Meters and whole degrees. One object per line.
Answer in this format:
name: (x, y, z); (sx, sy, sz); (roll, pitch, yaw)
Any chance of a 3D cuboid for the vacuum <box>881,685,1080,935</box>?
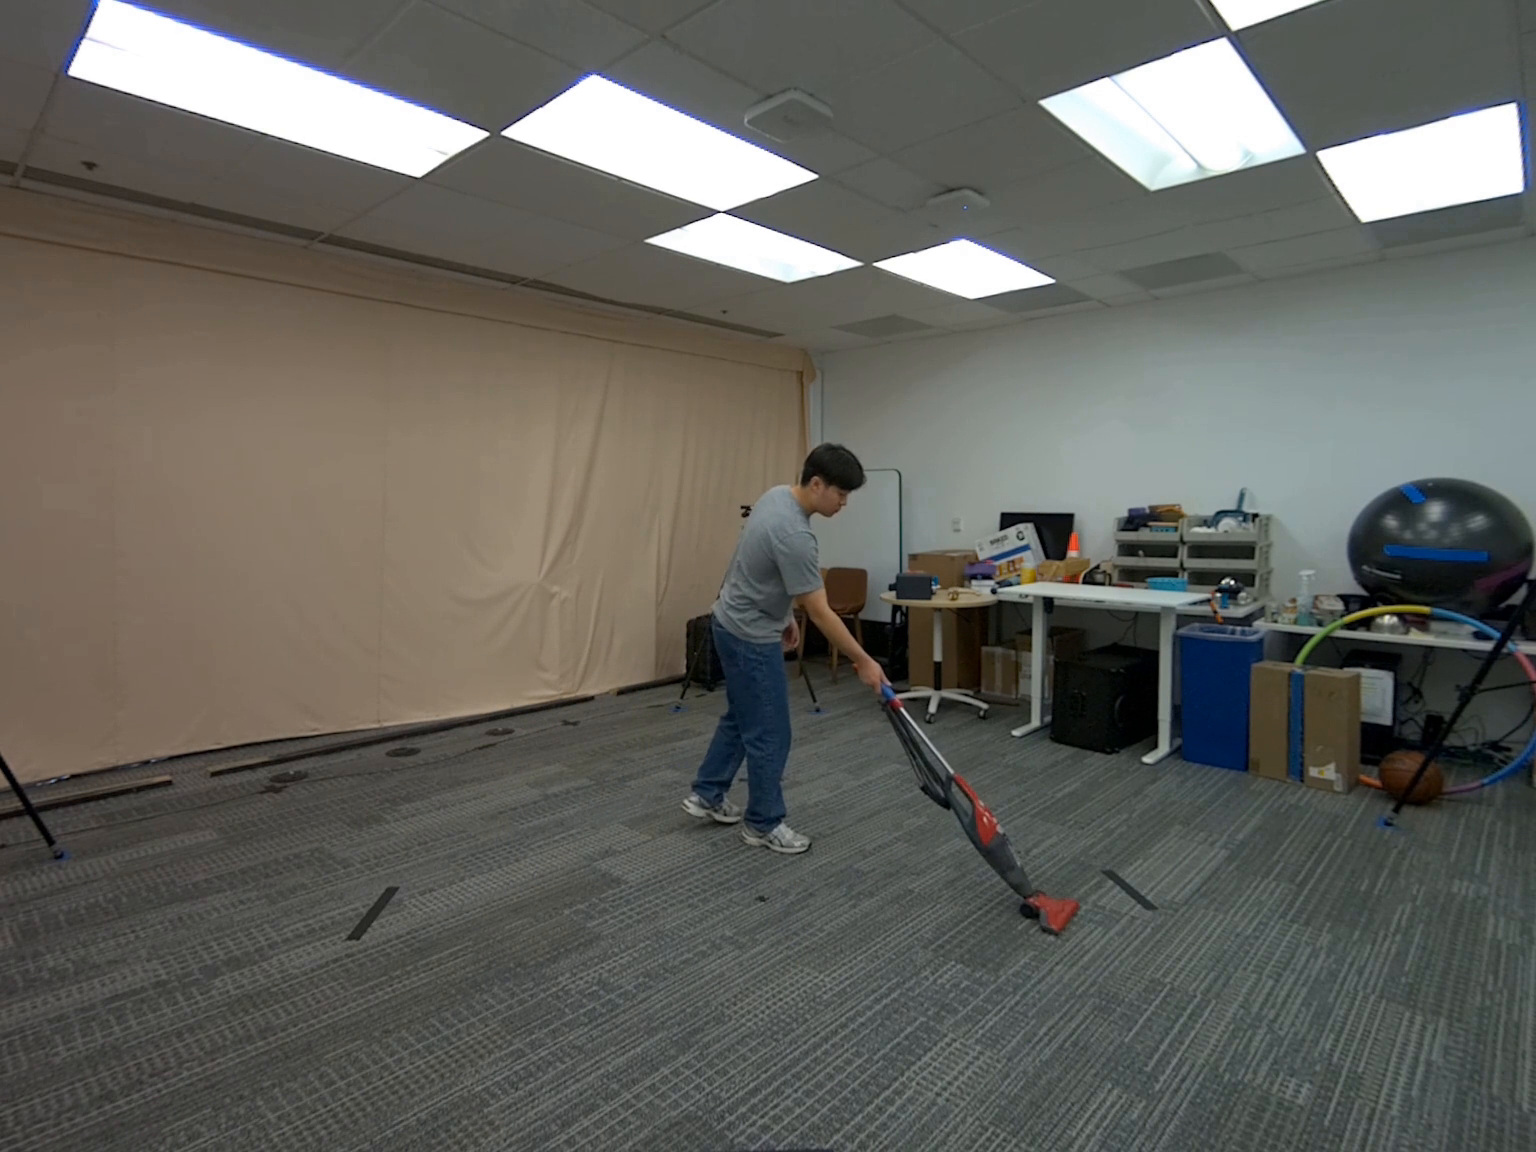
vacuum: (0.651, 0.751, 3.072); (0.145, 1.076, 0.245); (-49, -26, 24)
